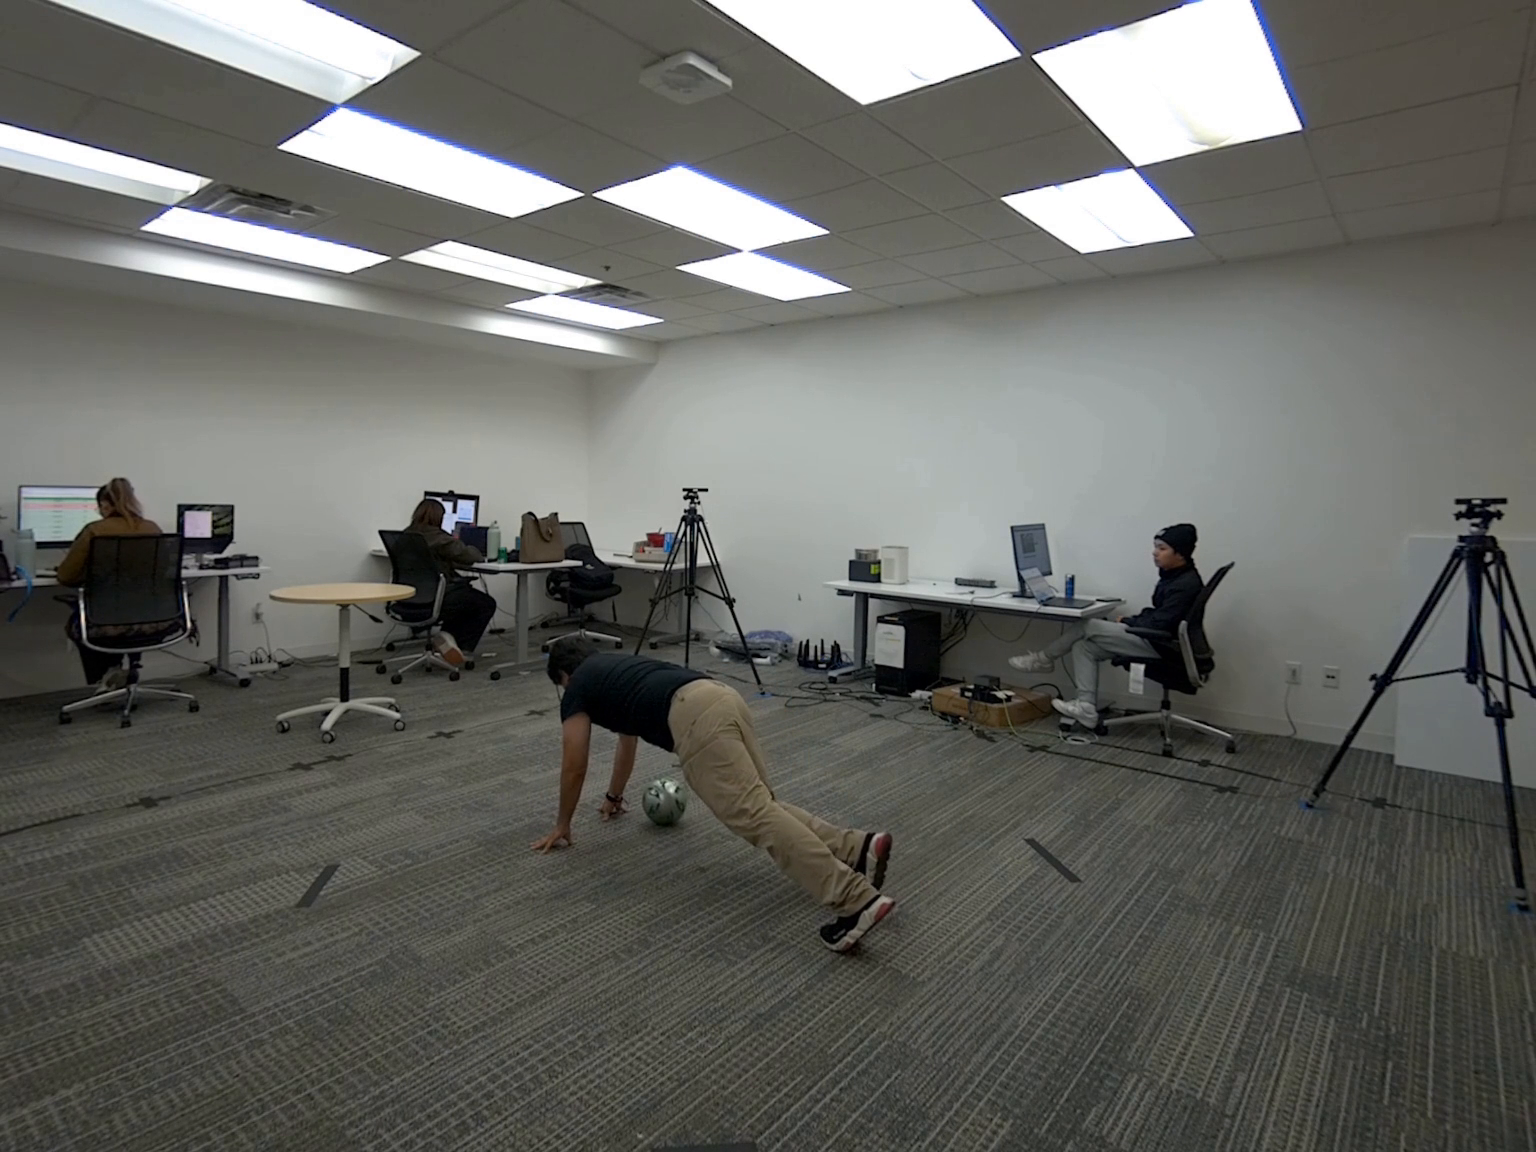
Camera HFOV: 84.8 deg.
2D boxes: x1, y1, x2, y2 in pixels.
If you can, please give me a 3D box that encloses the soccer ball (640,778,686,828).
[{"bbox_3d":[-0.440,0.933,3.530,0.187,0.187,0.188,1,4,-2],"label":"soccer ball"}]
